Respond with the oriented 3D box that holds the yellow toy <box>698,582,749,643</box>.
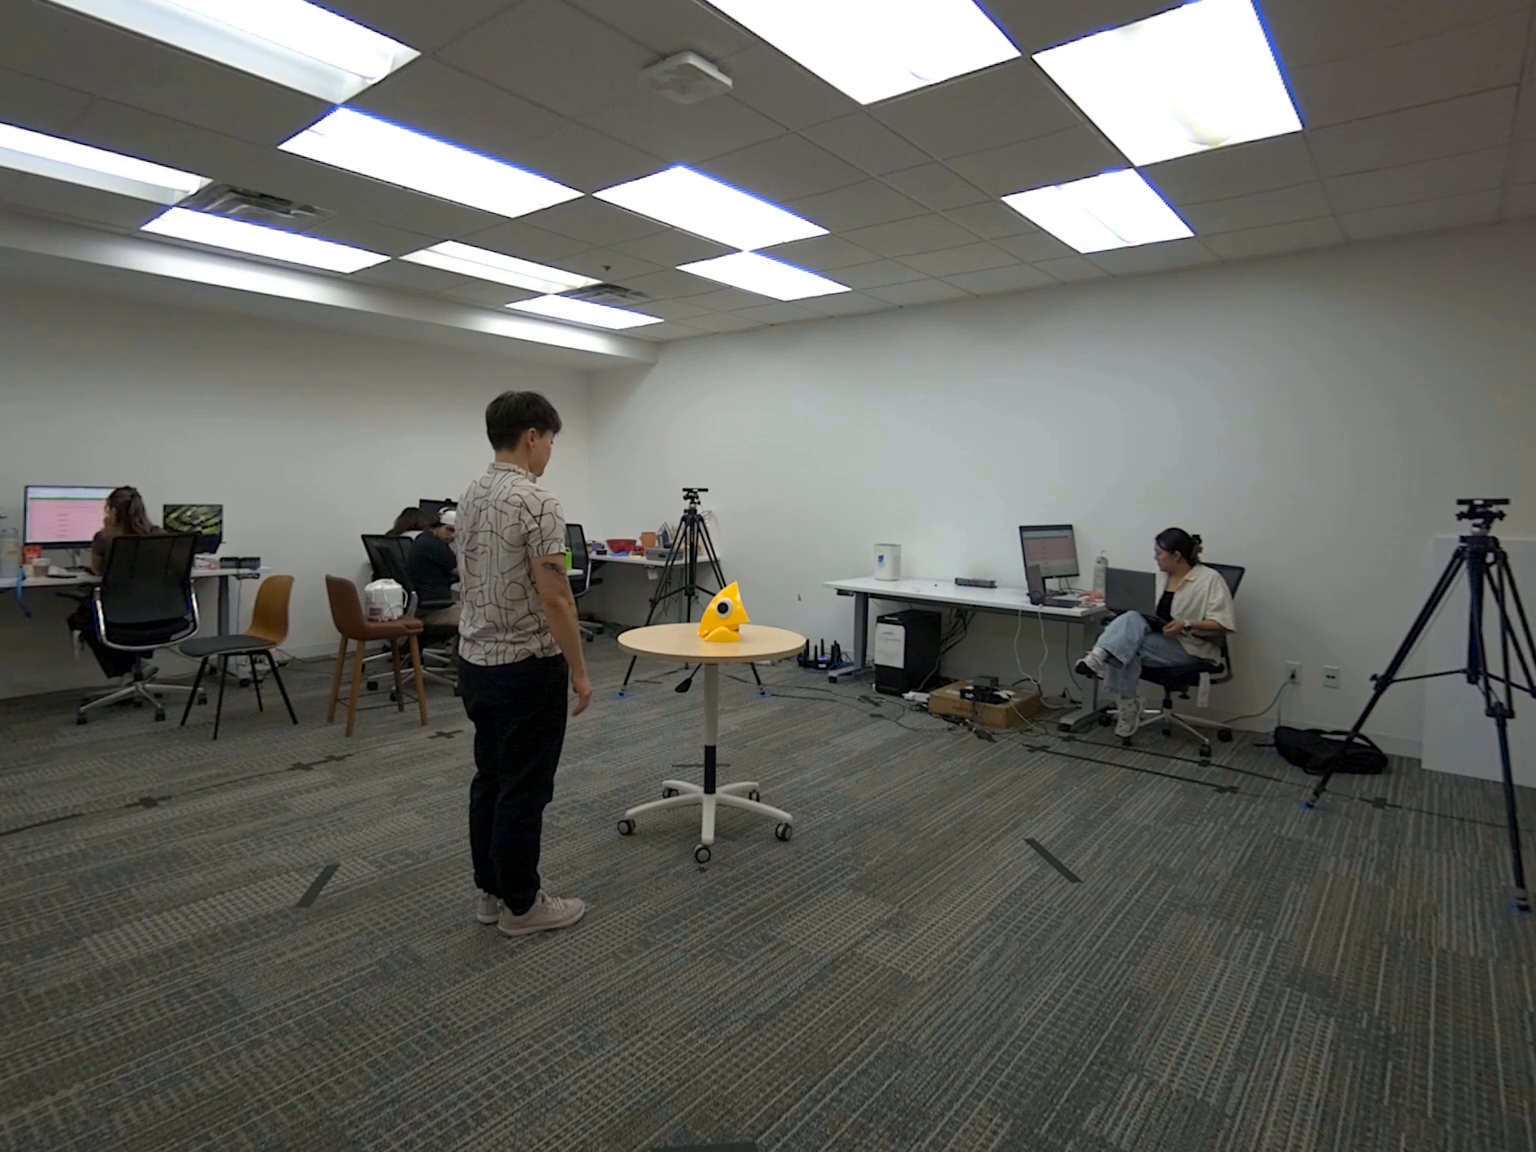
[{"bbox_3d":[-0.198,0.134,3.484,0.190,0.230,0.209,0,4,-16],"label":"yellow toy"}]
